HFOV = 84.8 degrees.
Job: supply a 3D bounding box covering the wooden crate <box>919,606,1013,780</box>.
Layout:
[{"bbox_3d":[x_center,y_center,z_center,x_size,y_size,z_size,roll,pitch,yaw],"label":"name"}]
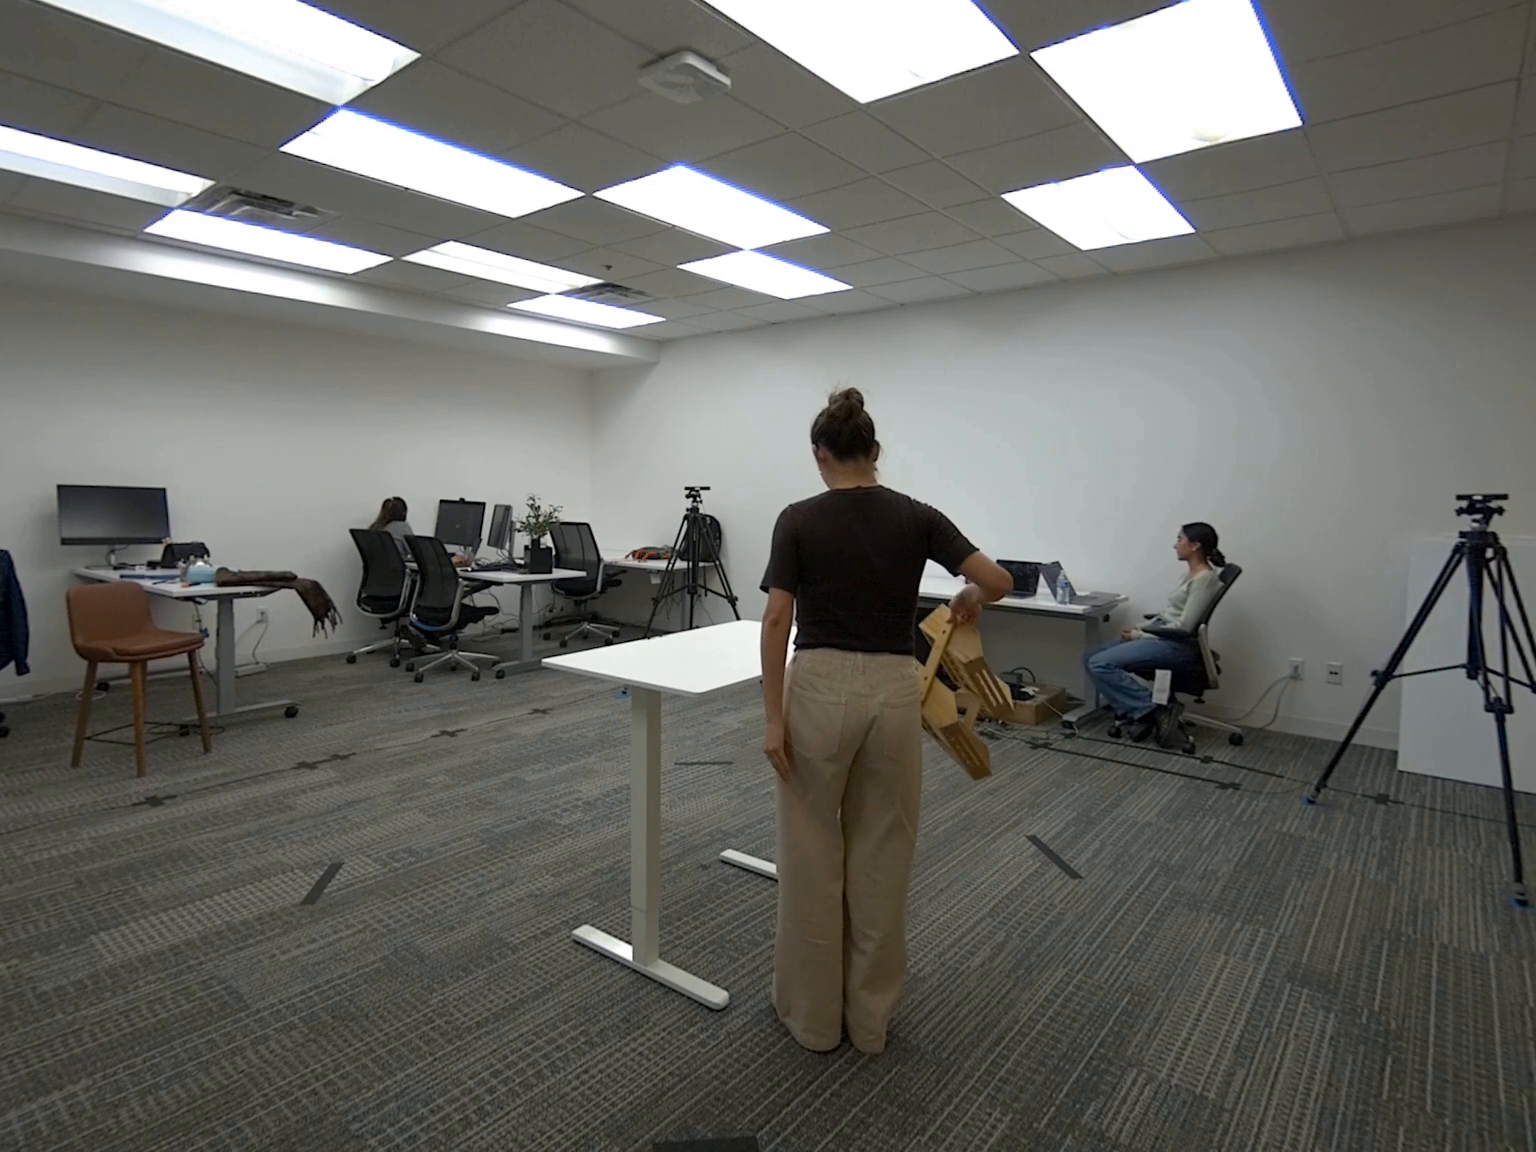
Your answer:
[{"bbox_3d":[0.525,0.315,2.327,0.311,0.273,0.315,51,-6,-39],"label":"wooden crate"}]
